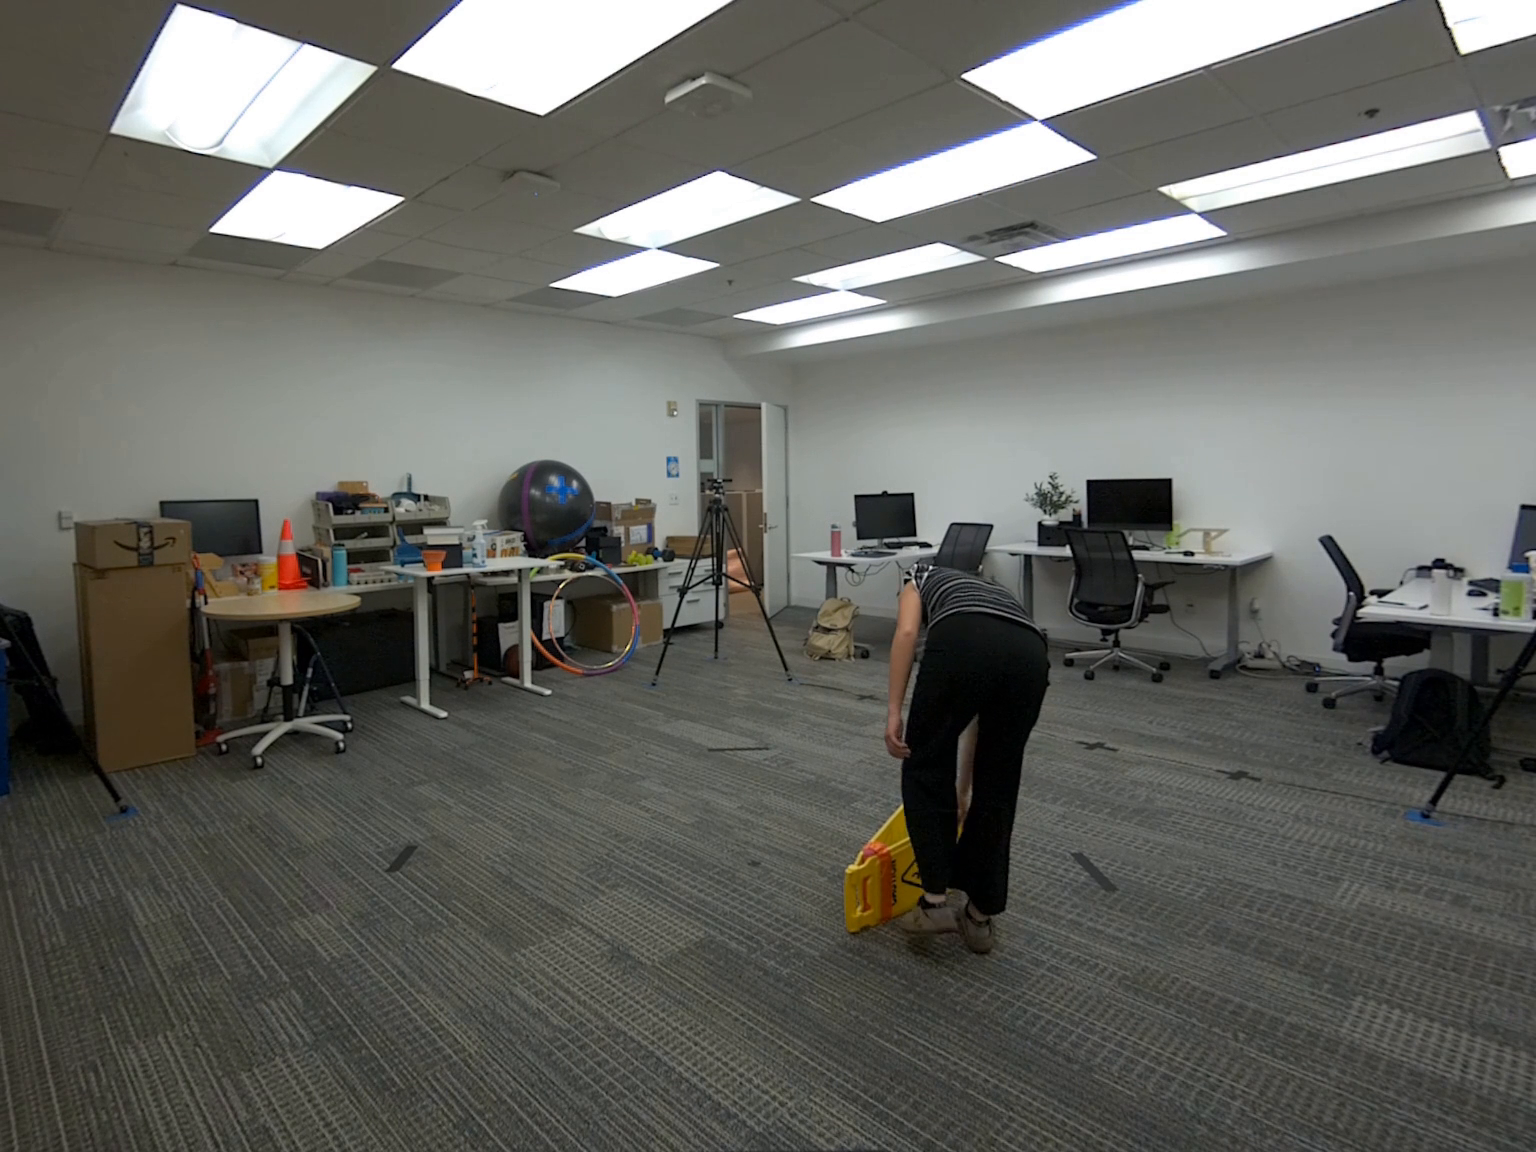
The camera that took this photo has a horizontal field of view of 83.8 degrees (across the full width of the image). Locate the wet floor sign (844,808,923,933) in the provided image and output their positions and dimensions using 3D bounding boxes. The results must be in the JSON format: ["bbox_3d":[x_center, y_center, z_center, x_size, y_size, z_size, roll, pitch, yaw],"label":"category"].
[{"bbox_3d":[0.461,0.945,2.818,0.299,0.280,0.631,4,11,42],"label":"wet floor sign"}]
